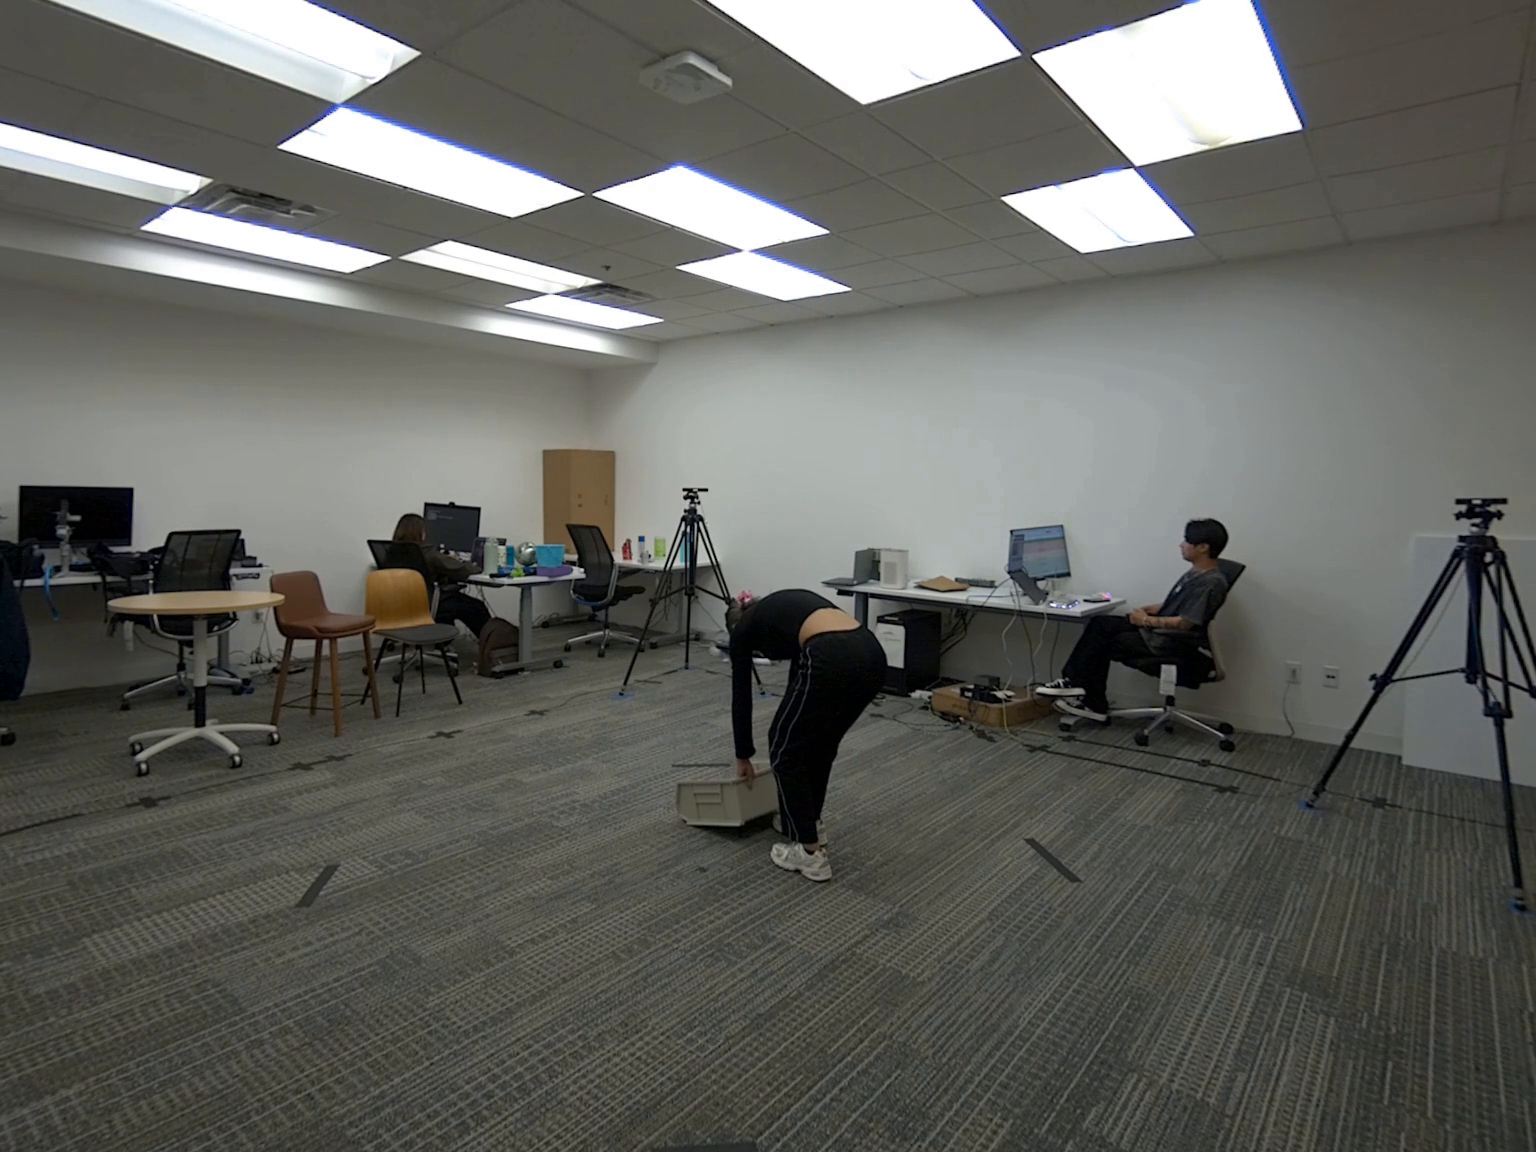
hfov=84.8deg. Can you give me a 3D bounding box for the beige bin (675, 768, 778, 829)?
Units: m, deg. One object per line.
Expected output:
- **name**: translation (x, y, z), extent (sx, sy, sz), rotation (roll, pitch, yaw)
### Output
- **beige bin**: translation (-0.130, 0.902, 3.588), extent (0.386, 0.190, 0.409), rotation (-13, -6, 42)
